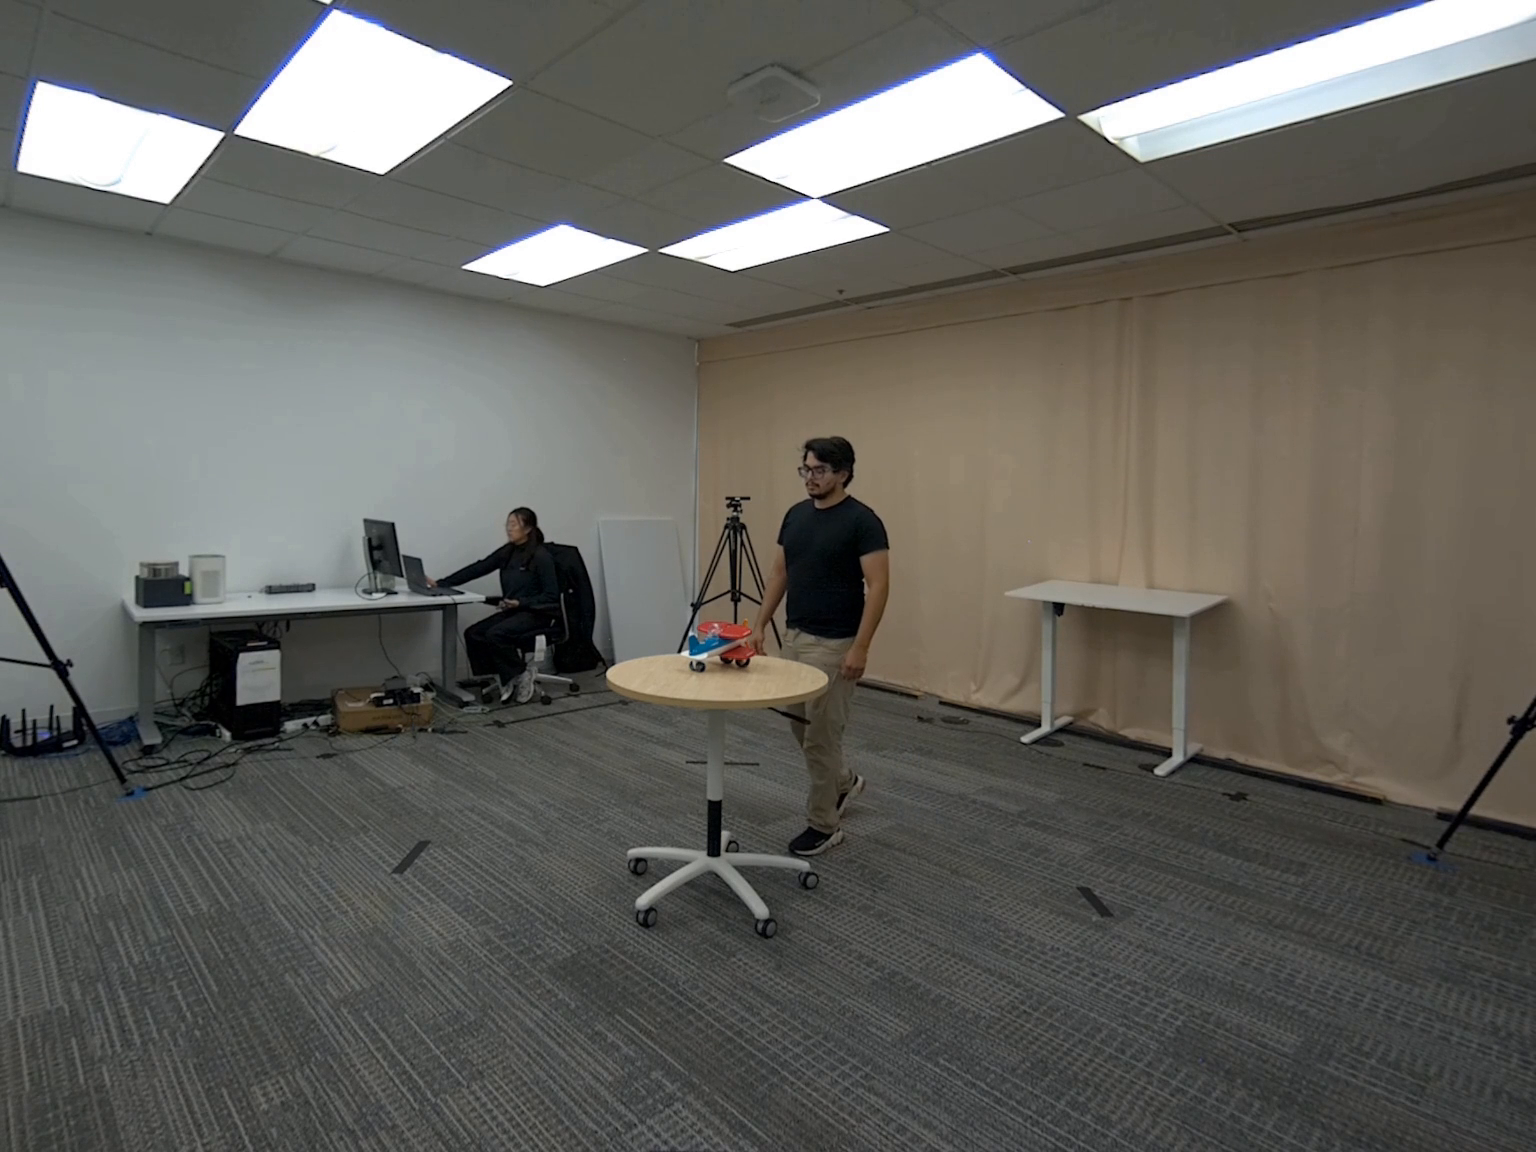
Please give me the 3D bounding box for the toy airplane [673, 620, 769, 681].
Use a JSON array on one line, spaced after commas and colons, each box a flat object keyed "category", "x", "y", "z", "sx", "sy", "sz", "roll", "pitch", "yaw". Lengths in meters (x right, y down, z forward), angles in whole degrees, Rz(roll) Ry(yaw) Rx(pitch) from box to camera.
[{"category": "toy airplane", "x": -0.163, "y": 0.256, "z": 2.994, "sx": 0.255, "sy": 0.156, "sz": 0.255, "roll": 3, "pitch": 3, "yaw": 20}]
